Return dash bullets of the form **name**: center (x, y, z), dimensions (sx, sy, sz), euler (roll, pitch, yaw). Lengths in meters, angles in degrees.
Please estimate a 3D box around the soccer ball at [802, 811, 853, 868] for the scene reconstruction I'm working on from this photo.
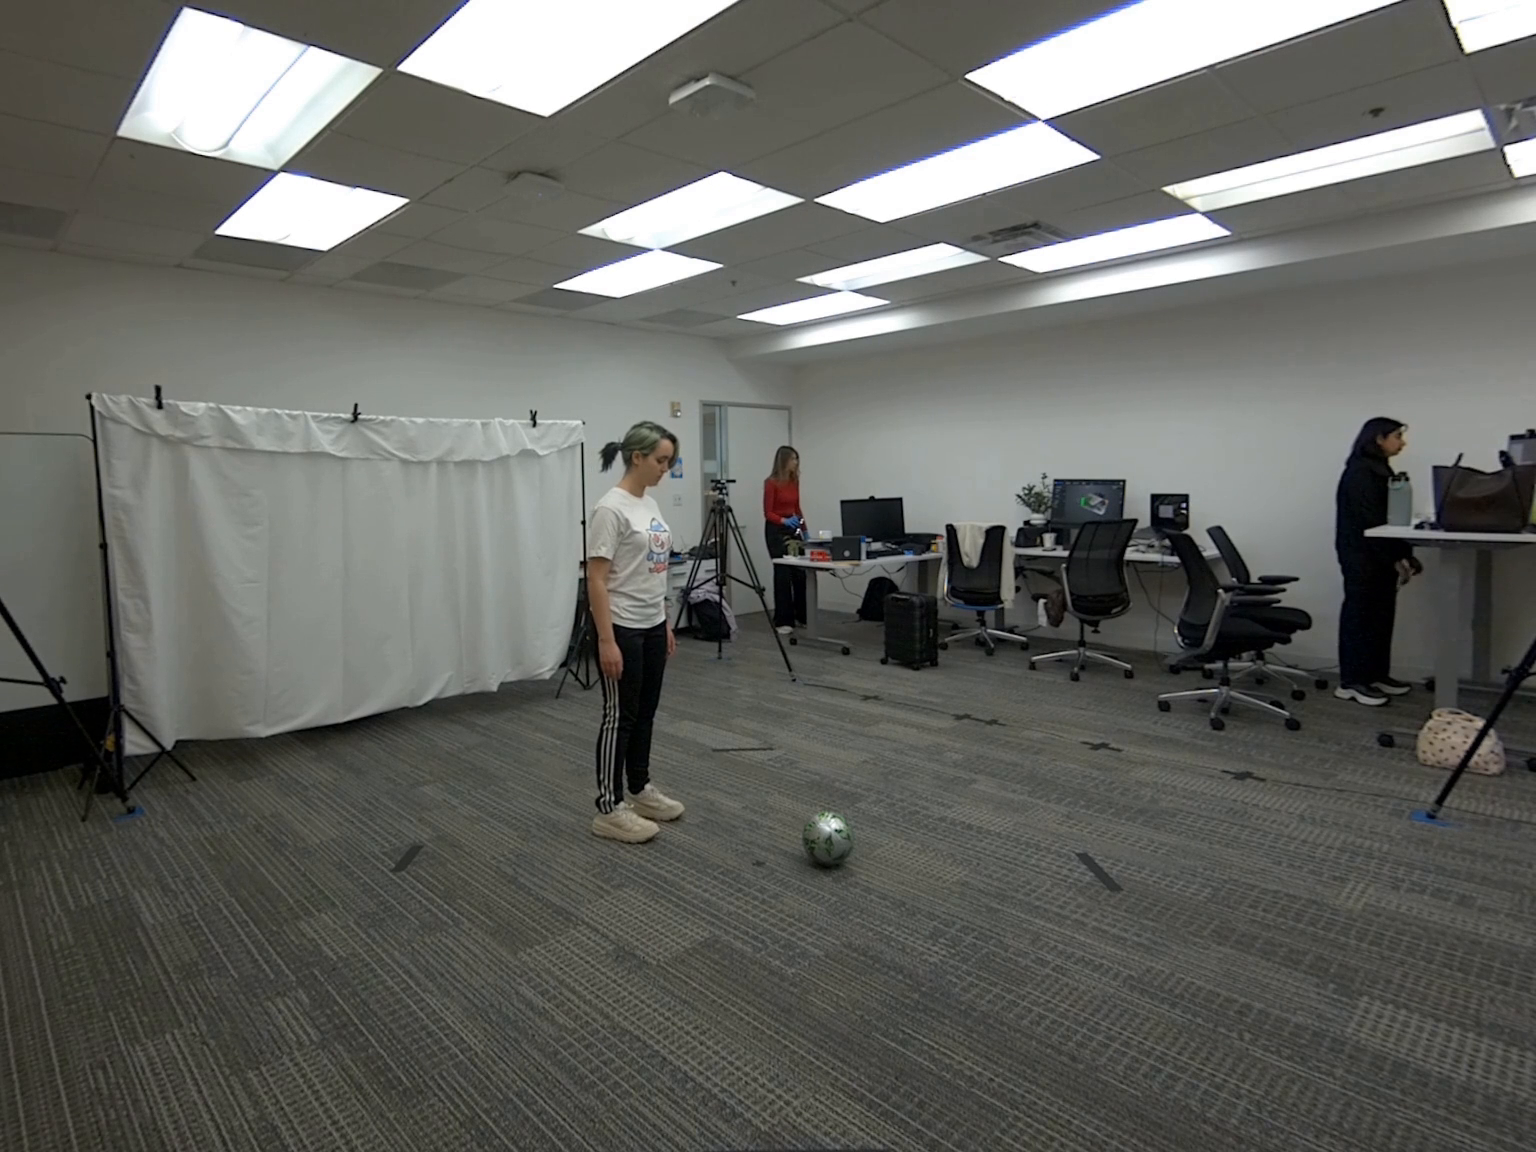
- **soccer ball**: center (0.216, 0.949, 3.095), dimensions (0.187, 0.187, 0.188), euler (-1, 5, -2)
